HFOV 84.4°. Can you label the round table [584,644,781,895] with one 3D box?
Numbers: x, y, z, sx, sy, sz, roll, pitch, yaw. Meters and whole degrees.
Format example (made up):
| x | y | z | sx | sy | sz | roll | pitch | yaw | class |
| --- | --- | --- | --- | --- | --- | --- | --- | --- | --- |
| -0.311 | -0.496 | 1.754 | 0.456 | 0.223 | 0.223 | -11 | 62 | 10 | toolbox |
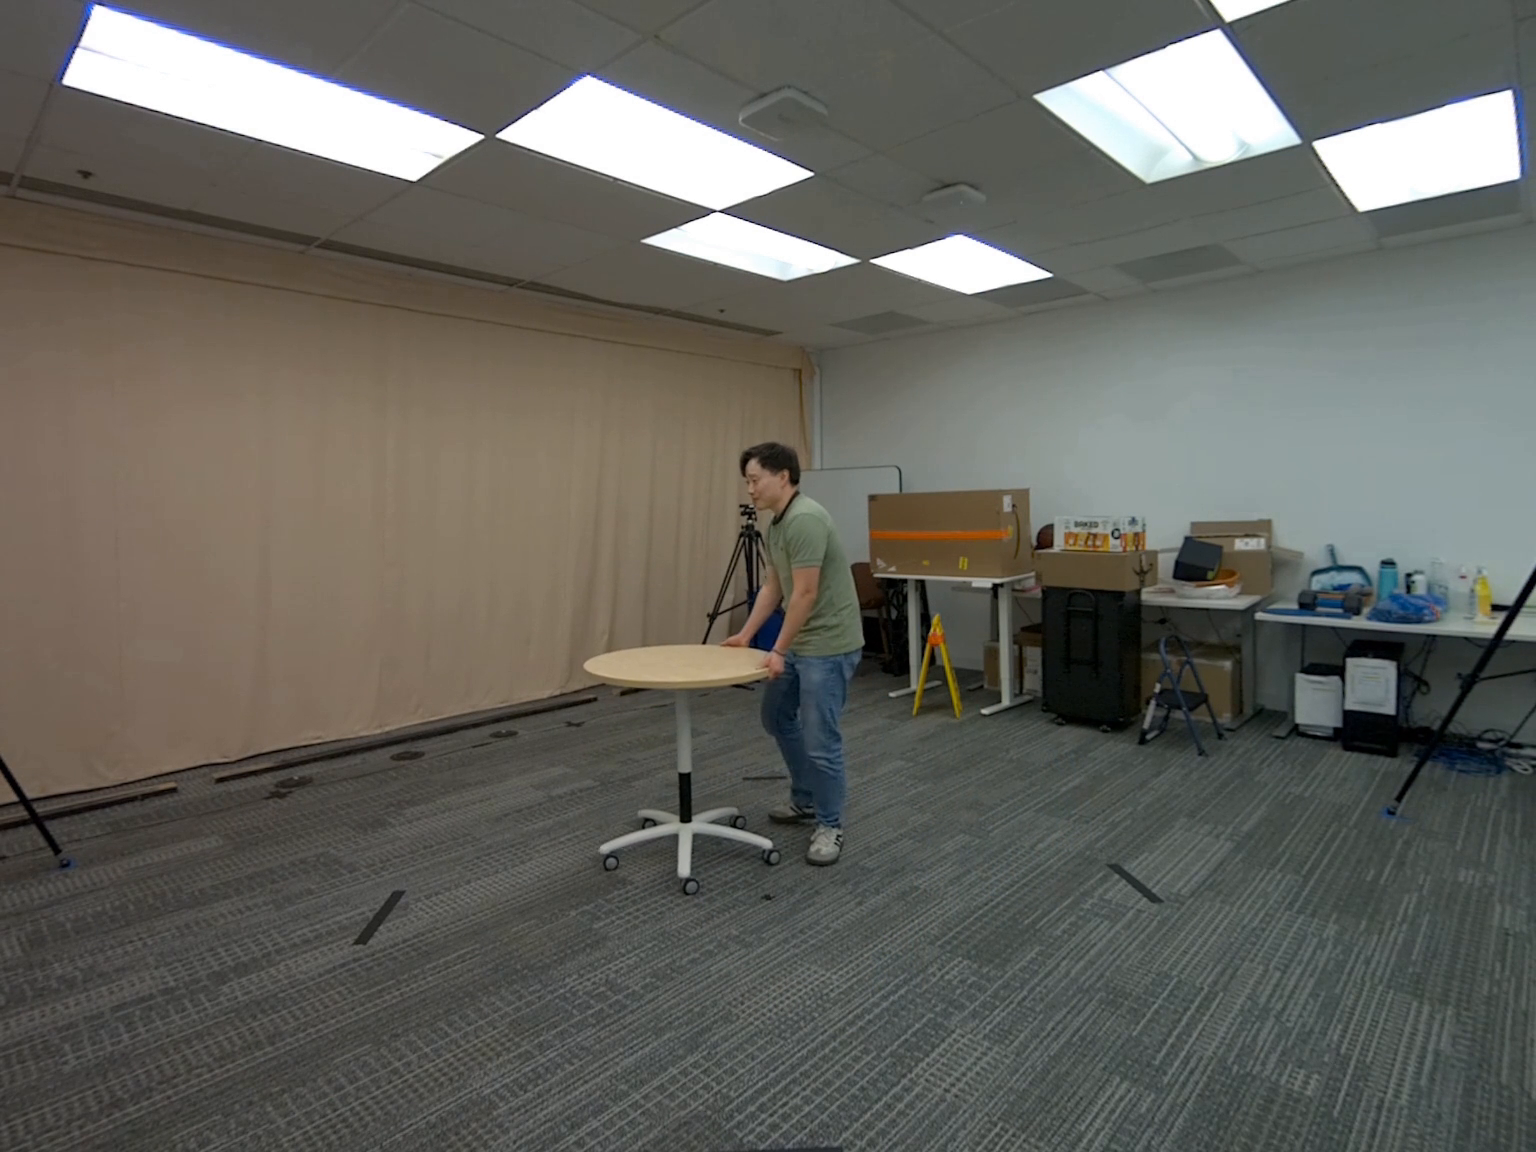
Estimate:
| x | y | z | sx | sy | sz | roll | pitch | yaw | class |
| --- | --- | --- | --- | --- | --- | --- | --- | --- | --- |
| -0.330 | 0.728 | 3.335 | 0.763 | 0.792 | 0.766 | -1 | 4 | -2 | round table |
